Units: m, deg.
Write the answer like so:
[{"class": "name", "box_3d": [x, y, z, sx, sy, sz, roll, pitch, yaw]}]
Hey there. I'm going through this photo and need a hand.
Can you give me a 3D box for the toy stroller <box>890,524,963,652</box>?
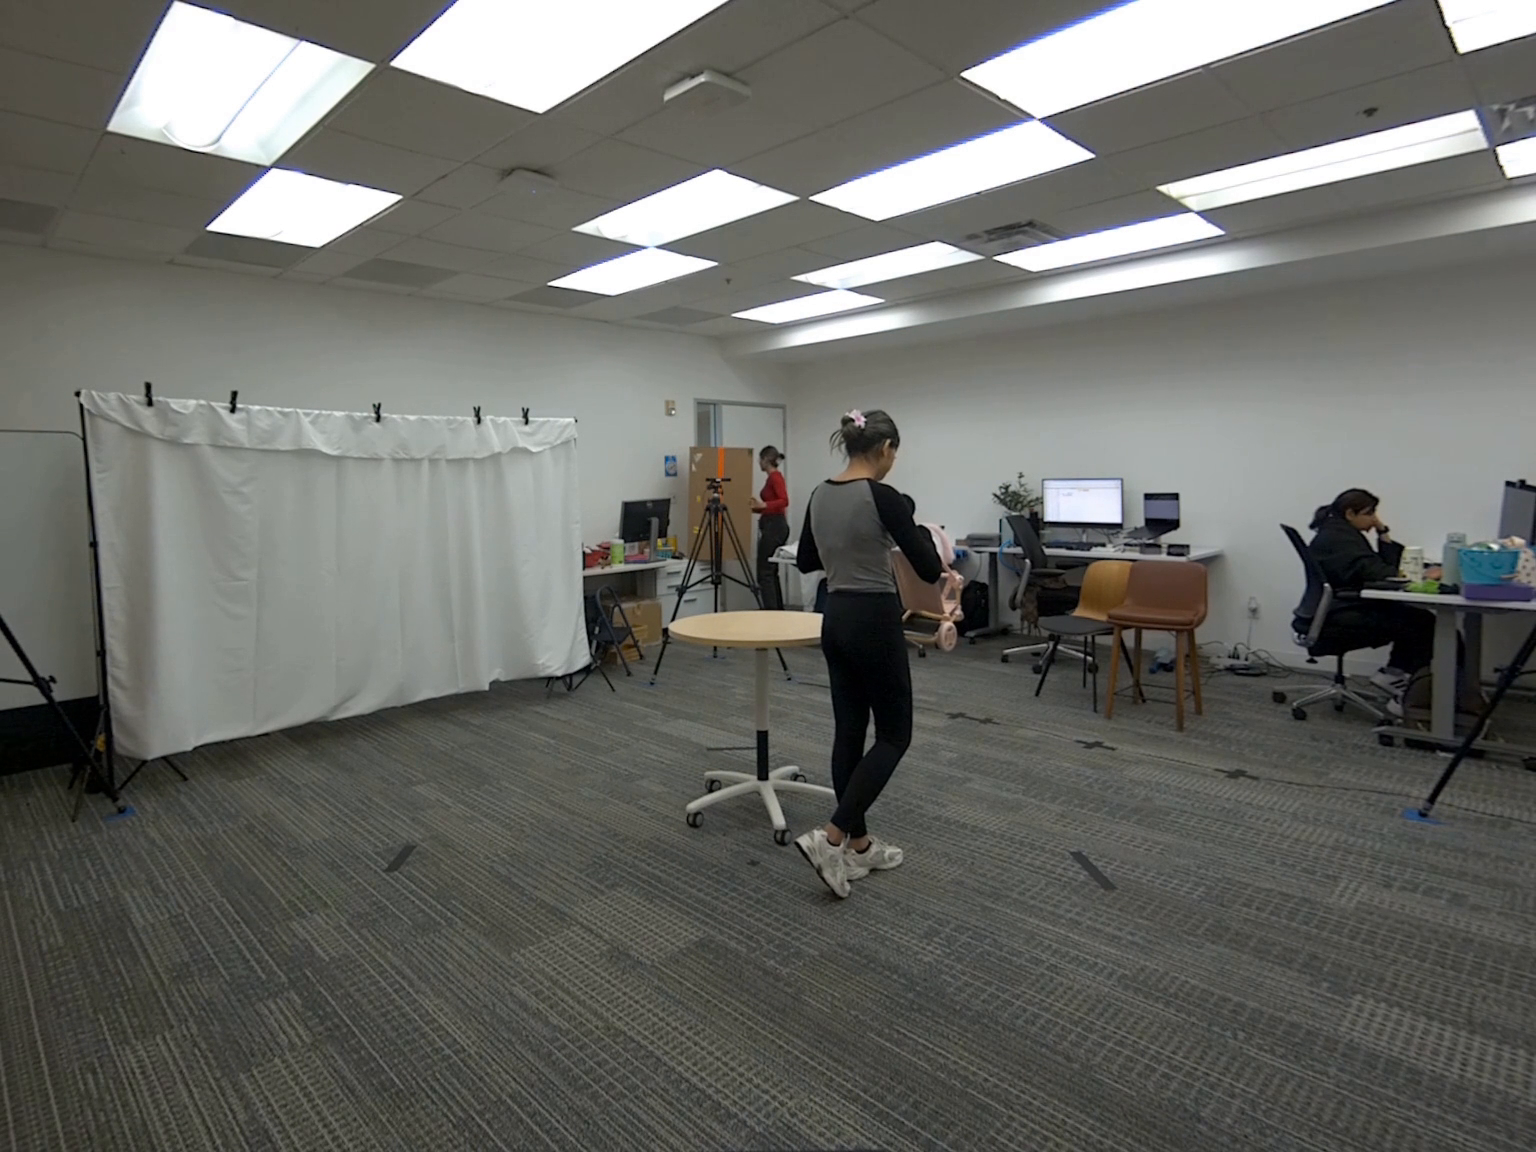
[{"class": "toy stroller", "box_3d": [0.609, 0.039, 3.260, 0.290, 0.527, 0.335, 5, 19, 44]}]
